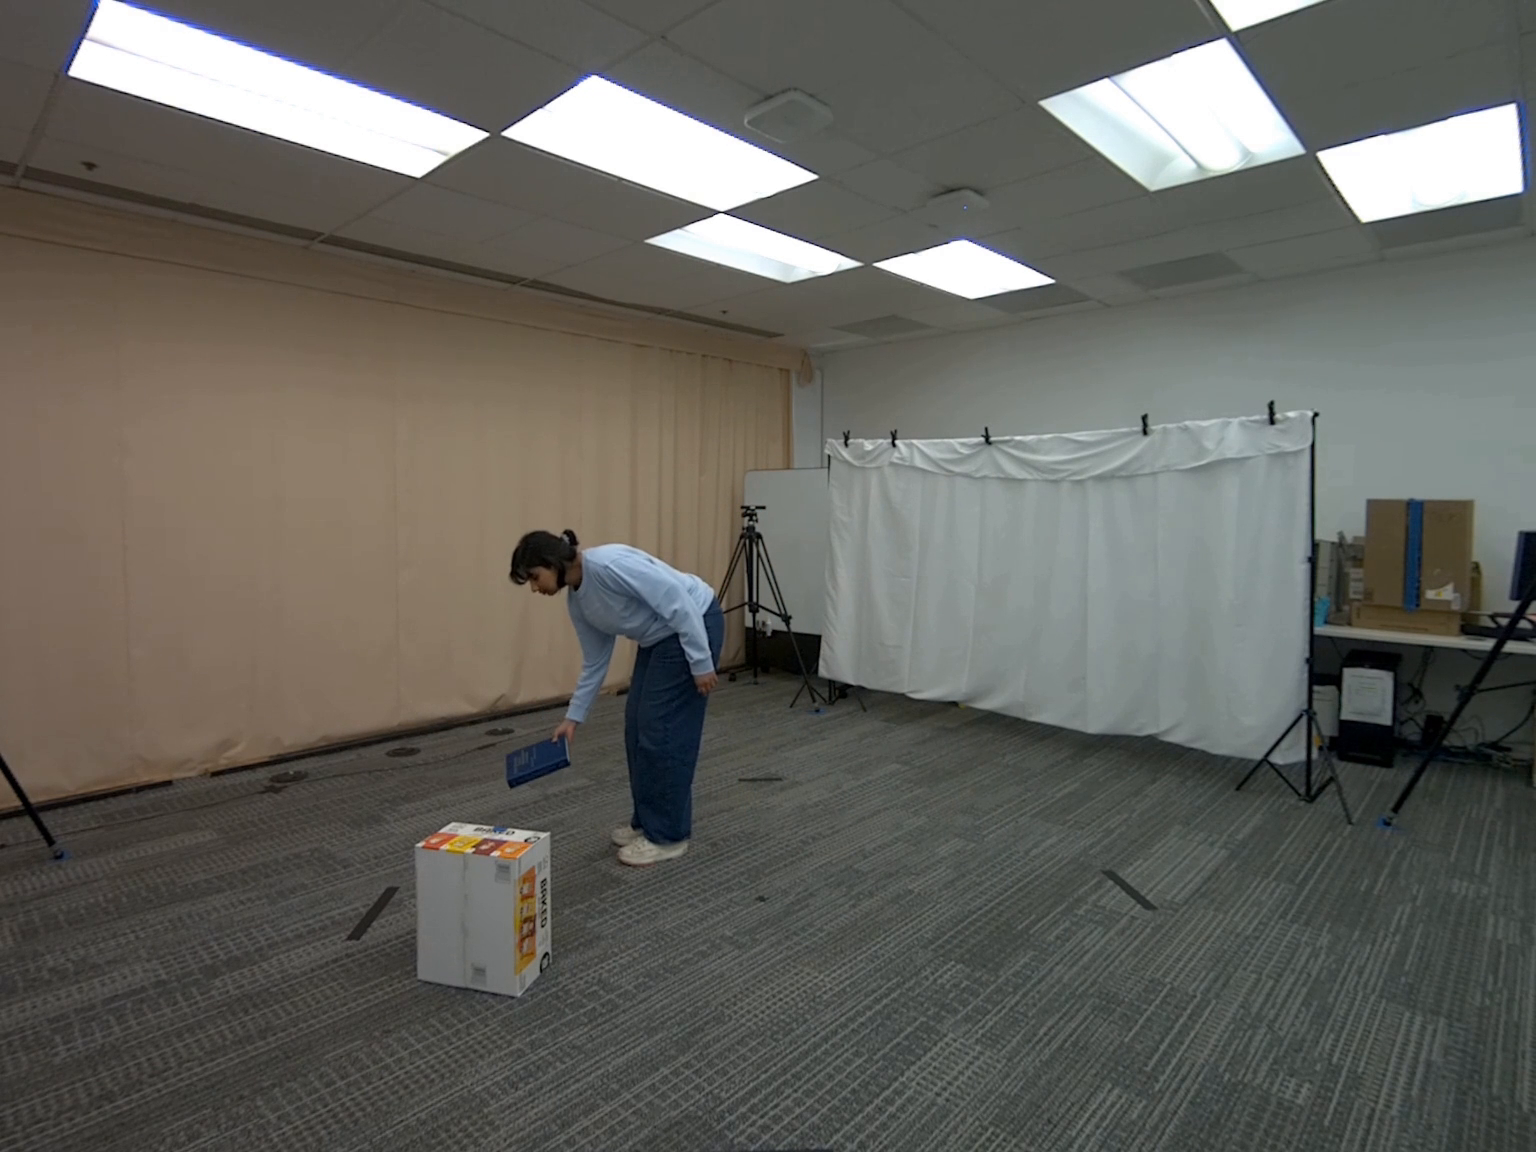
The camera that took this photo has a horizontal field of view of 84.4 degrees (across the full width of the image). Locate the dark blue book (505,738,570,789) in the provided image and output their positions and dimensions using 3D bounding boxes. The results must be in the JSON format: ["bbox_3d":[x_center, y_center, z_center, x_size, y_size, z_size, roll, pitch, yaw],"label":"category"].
[{"bbox_3d":[-0.899,0.716,3.279,0.245,0.044,0.167,-19,25,-2],"label":"dark blue book"}]
